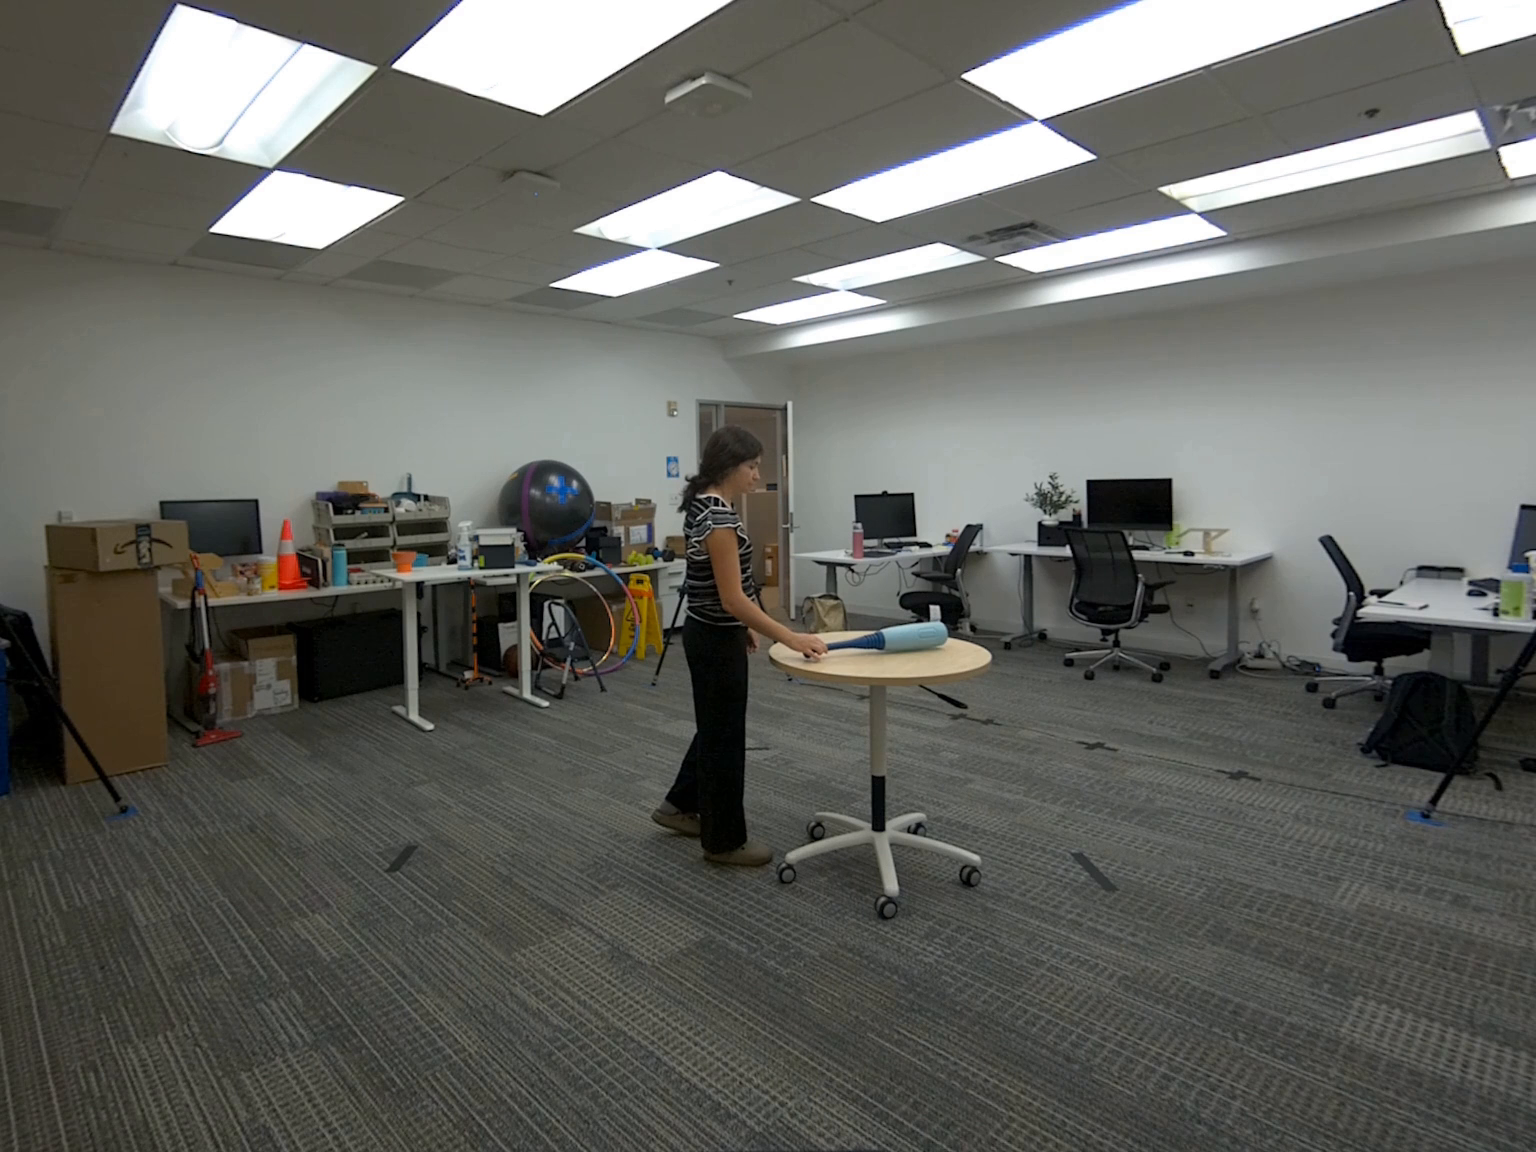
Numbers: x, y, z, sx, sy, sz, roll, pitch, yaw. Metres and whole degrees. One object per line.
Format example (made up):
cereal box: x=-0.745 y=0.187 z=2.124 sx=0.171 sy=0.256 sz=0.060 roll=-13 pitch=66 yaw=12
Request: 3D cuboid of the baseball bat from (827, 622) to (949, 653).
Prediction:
baseball bat: x=0.372 y=0.227 z=2.965 sx=0.534 sy=0.088 sz=0.091 roll=-6 pitch=6 yaw=-18
